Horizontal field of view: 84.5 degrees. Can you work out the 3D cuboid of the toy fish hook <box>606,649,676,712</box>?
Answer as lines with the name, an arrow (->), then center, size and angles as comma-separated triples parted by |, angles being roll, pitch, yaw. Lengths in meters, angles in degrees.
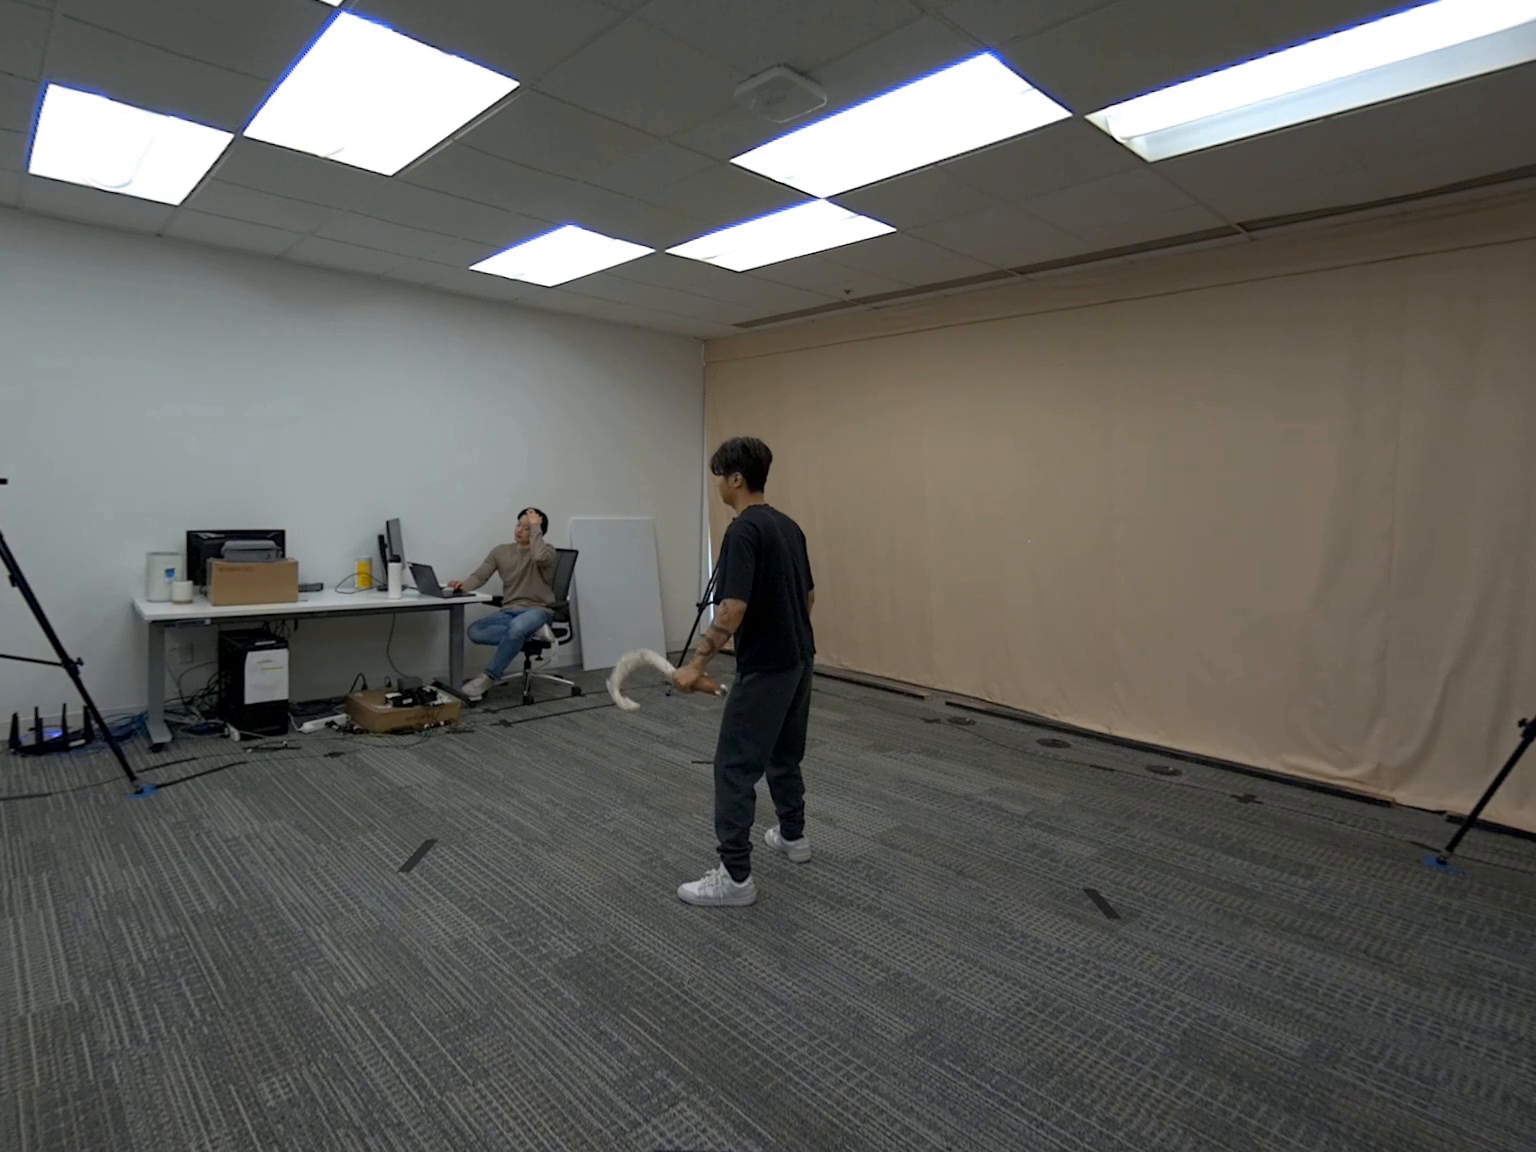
toy fish hook -> -0.346, 0.351, 2.836 | 0.520, 0.226, 0.047 | 11, -24, 40
